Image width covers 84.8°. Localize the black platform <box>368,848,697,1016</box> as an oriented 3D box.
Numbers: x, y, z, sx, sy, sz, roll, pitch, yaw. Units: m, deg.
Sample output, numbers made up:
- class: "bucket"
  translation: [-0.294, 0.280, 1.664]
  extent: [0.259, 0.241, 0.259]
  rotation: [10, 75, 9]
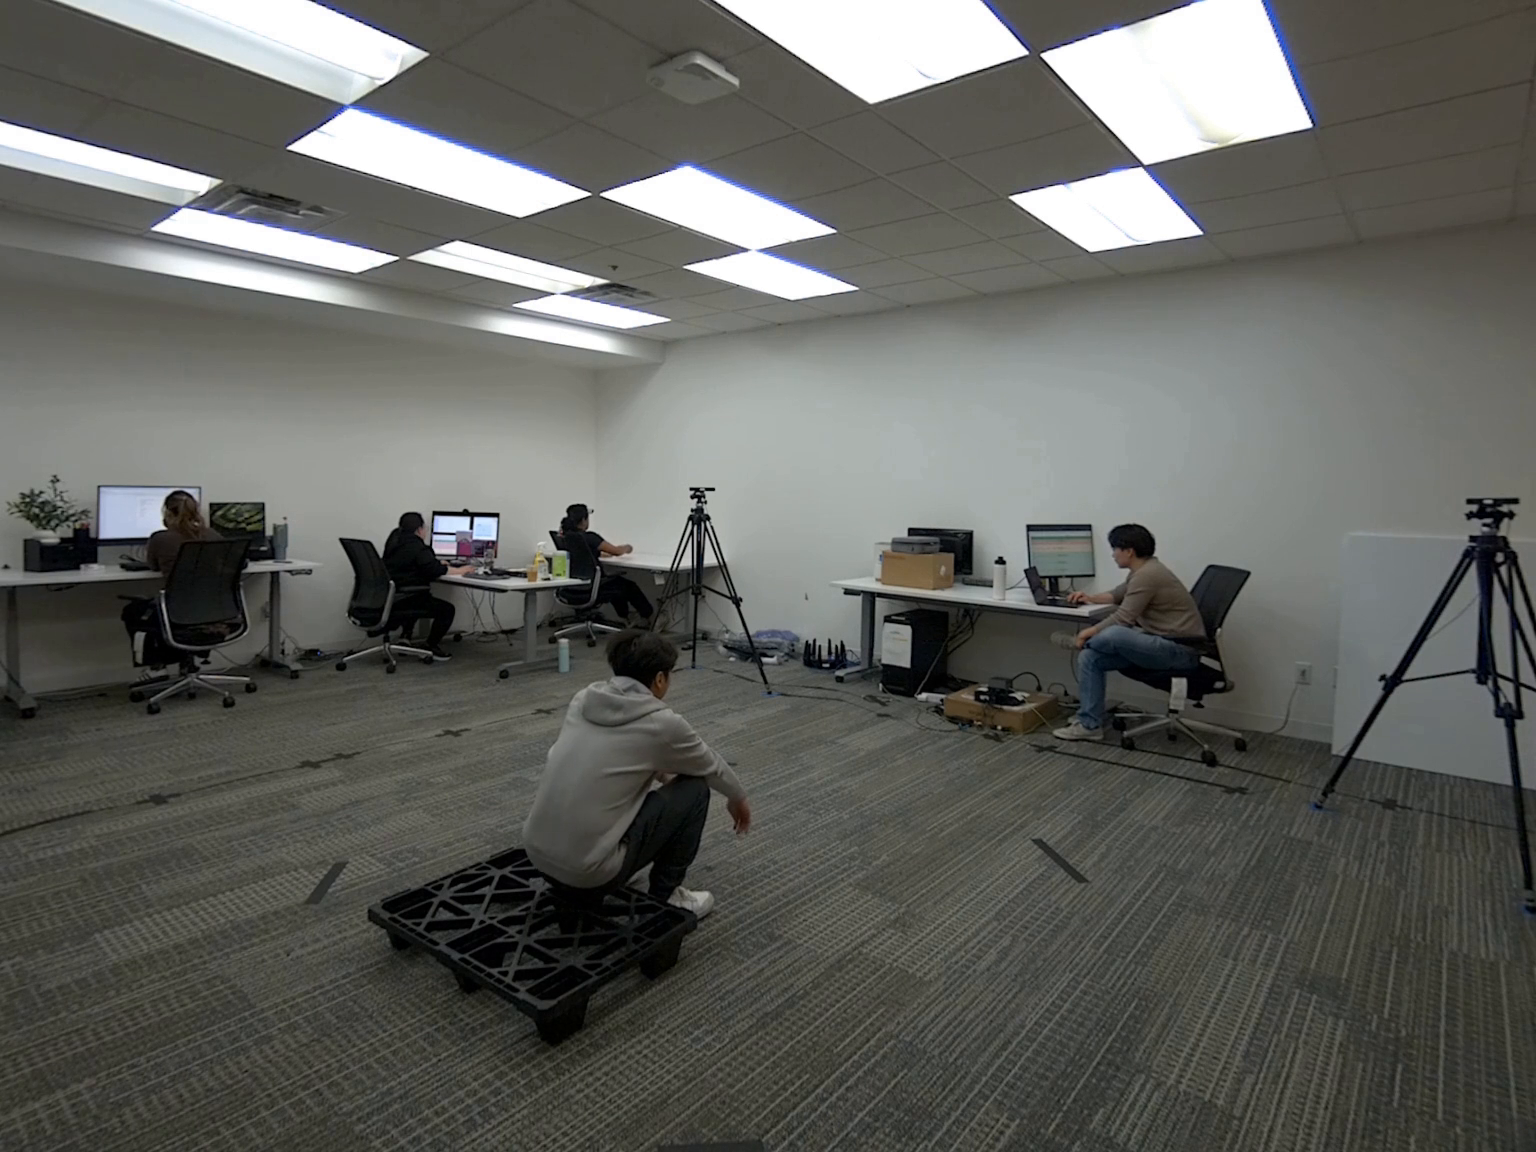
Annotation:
- class: "black platform"
  translation: [-0.706, 1.049, 2.519]
  extent: [0.832, 0.143, 0.588]
  rotation: [5, 7, 36]
